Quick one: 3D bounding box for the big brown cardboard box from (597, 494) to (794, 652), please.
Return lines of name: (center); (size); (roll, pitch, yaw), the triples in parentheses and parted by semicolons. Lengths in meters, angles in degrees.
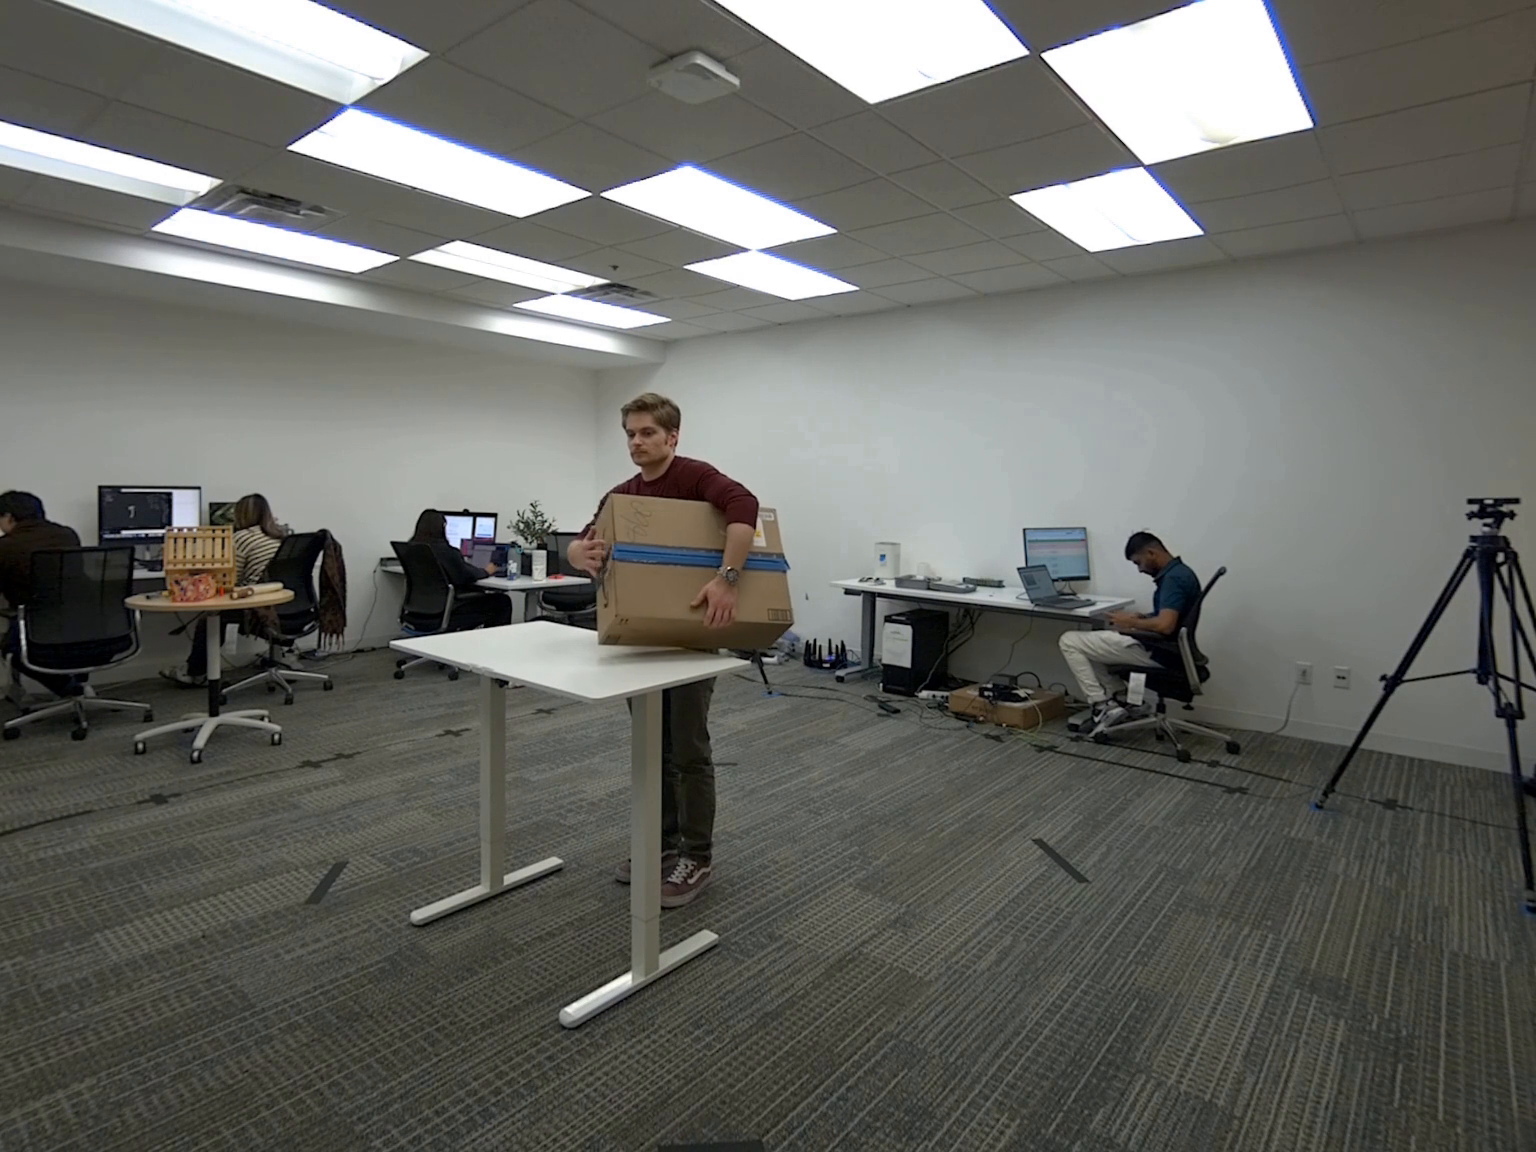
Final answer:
big brown cardboard box: (-0.238, -0.004, 2.689); (0.576, 0.429, 0.232); (1, -30, -22)
